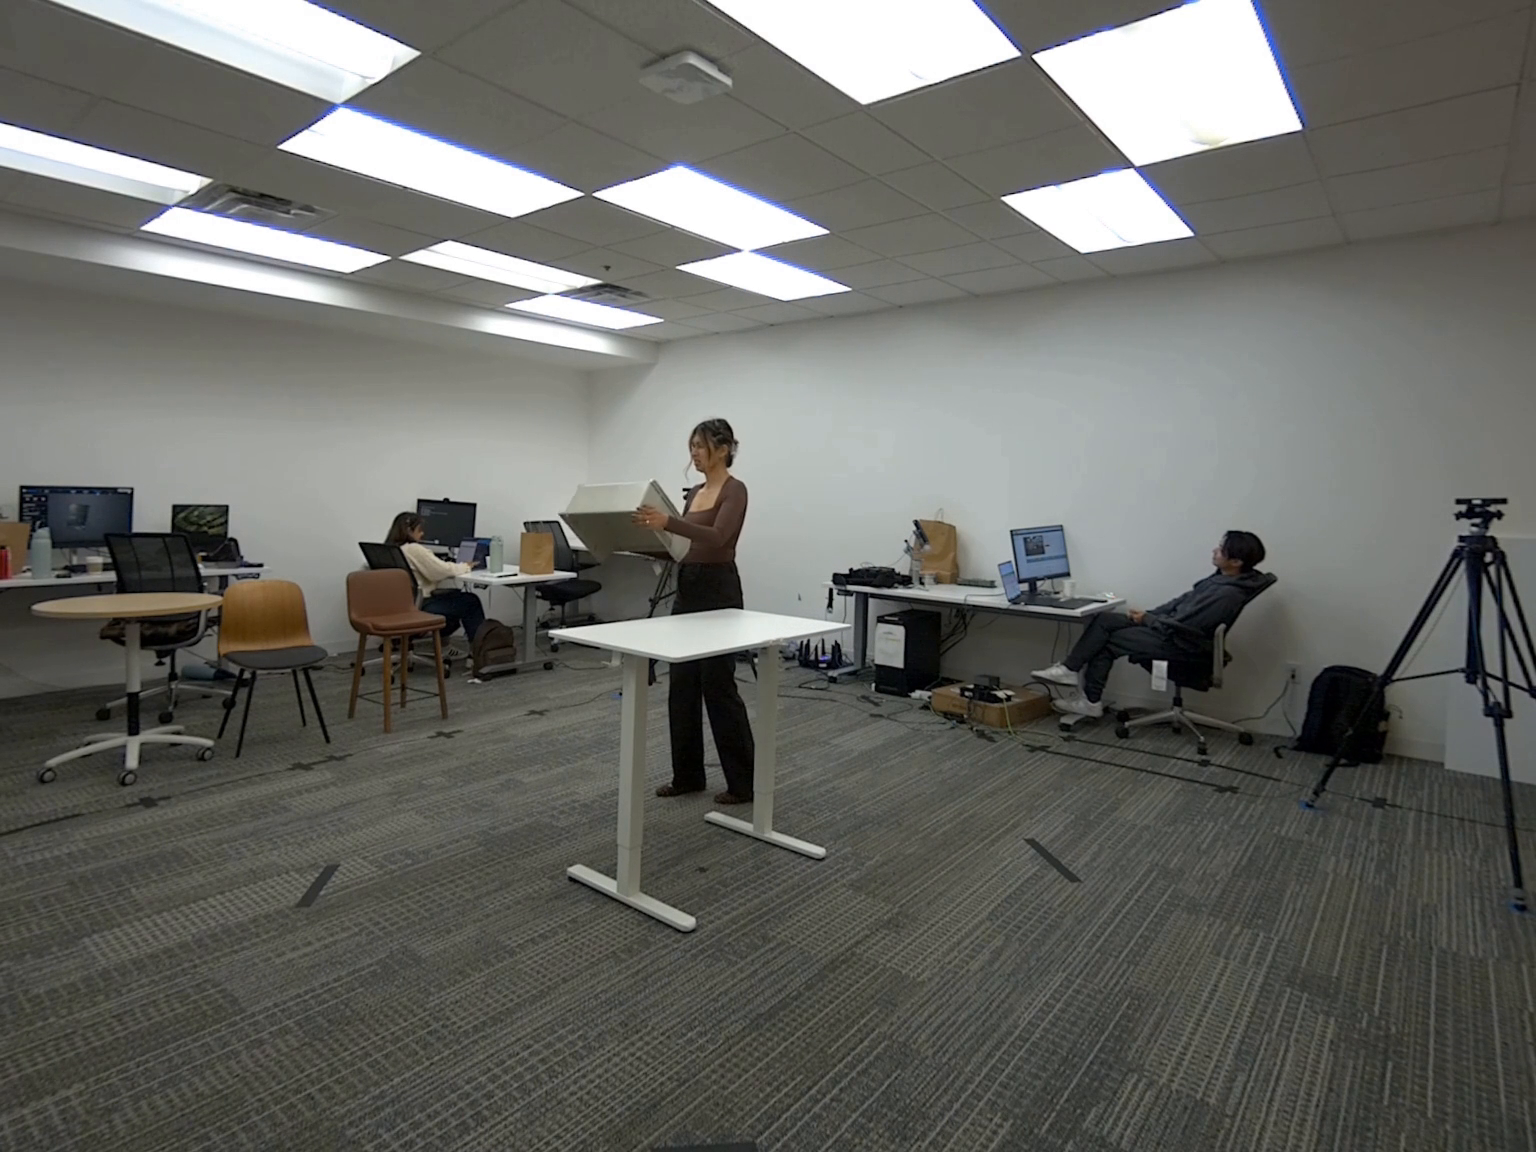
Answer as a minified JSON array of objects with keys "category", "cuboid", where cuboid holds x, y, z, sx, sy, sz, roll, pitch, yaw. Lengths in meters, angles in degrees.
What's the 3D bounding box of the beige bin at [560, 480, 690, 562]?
[{"category":"beige bin","cuboid":[-0.606,-0.219,3.621,0.434,0.191,0.362,0,-38,30]}]
